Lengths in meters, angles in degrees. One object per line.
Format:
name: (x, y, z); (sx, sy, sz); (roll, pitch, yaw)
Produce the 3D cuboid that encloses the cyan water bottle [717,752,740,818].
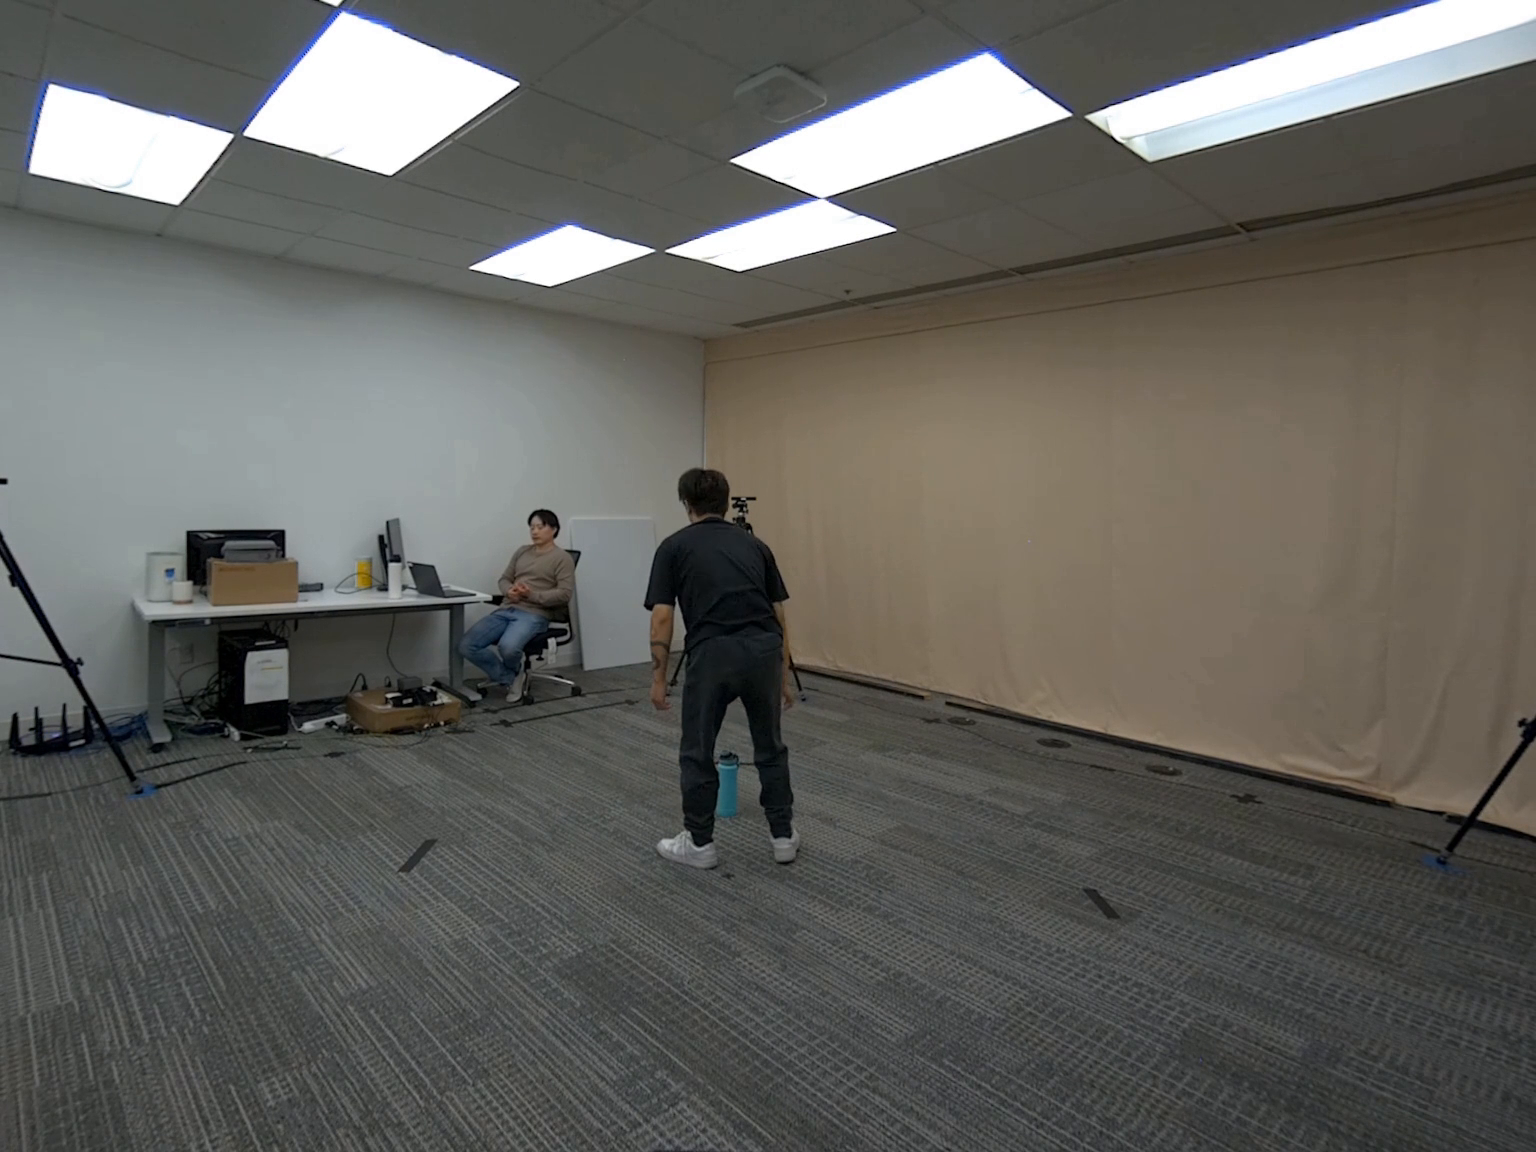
cyan water bottle: (-0.188, 0.912, 3.729); (0.092, 0.283, 0.092); (1, 3, -1)
